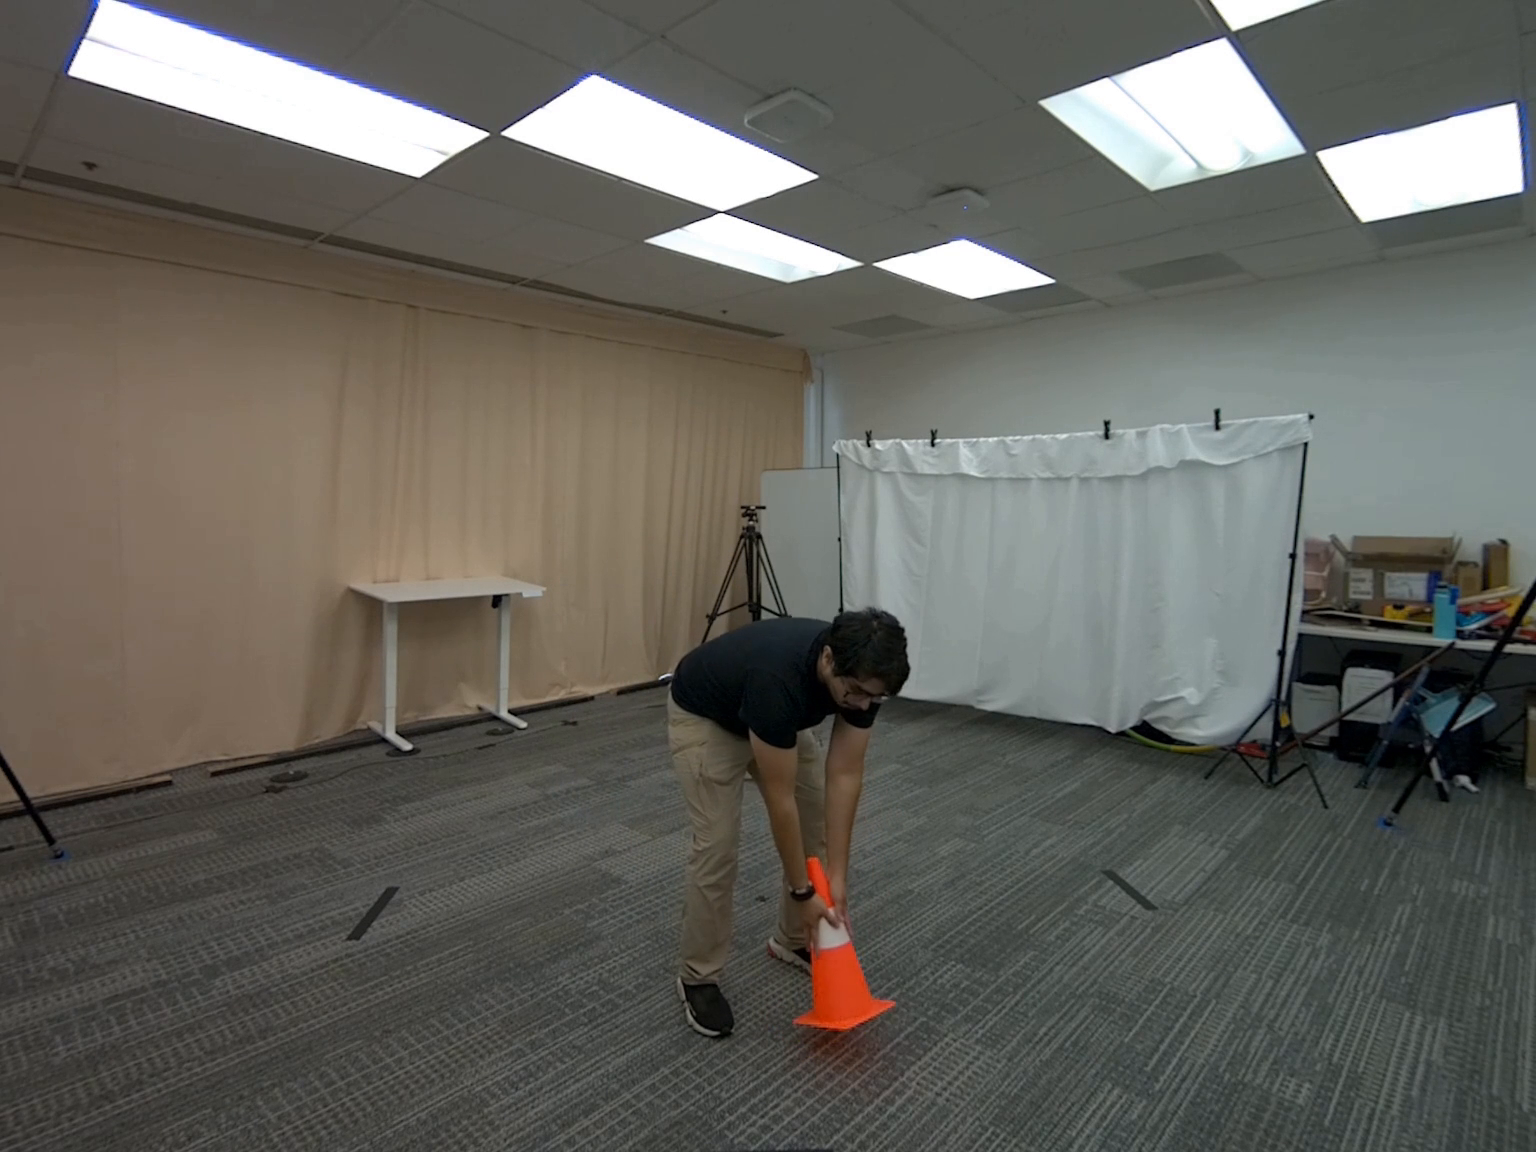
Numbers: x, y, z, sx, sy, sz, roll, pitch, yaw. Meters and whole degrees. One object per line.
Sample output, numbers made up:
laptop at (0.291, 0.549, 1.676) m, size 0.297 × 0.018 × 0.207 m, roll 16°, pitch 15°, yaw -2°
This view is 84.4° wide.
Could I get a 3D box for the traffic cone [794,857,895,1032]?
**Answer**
traffic cone at (0.165, 0.935, 2.203) m, size 0.196 × 0.388 × 0.209 m, roll 6°, pitch -22°, yaw -45°
